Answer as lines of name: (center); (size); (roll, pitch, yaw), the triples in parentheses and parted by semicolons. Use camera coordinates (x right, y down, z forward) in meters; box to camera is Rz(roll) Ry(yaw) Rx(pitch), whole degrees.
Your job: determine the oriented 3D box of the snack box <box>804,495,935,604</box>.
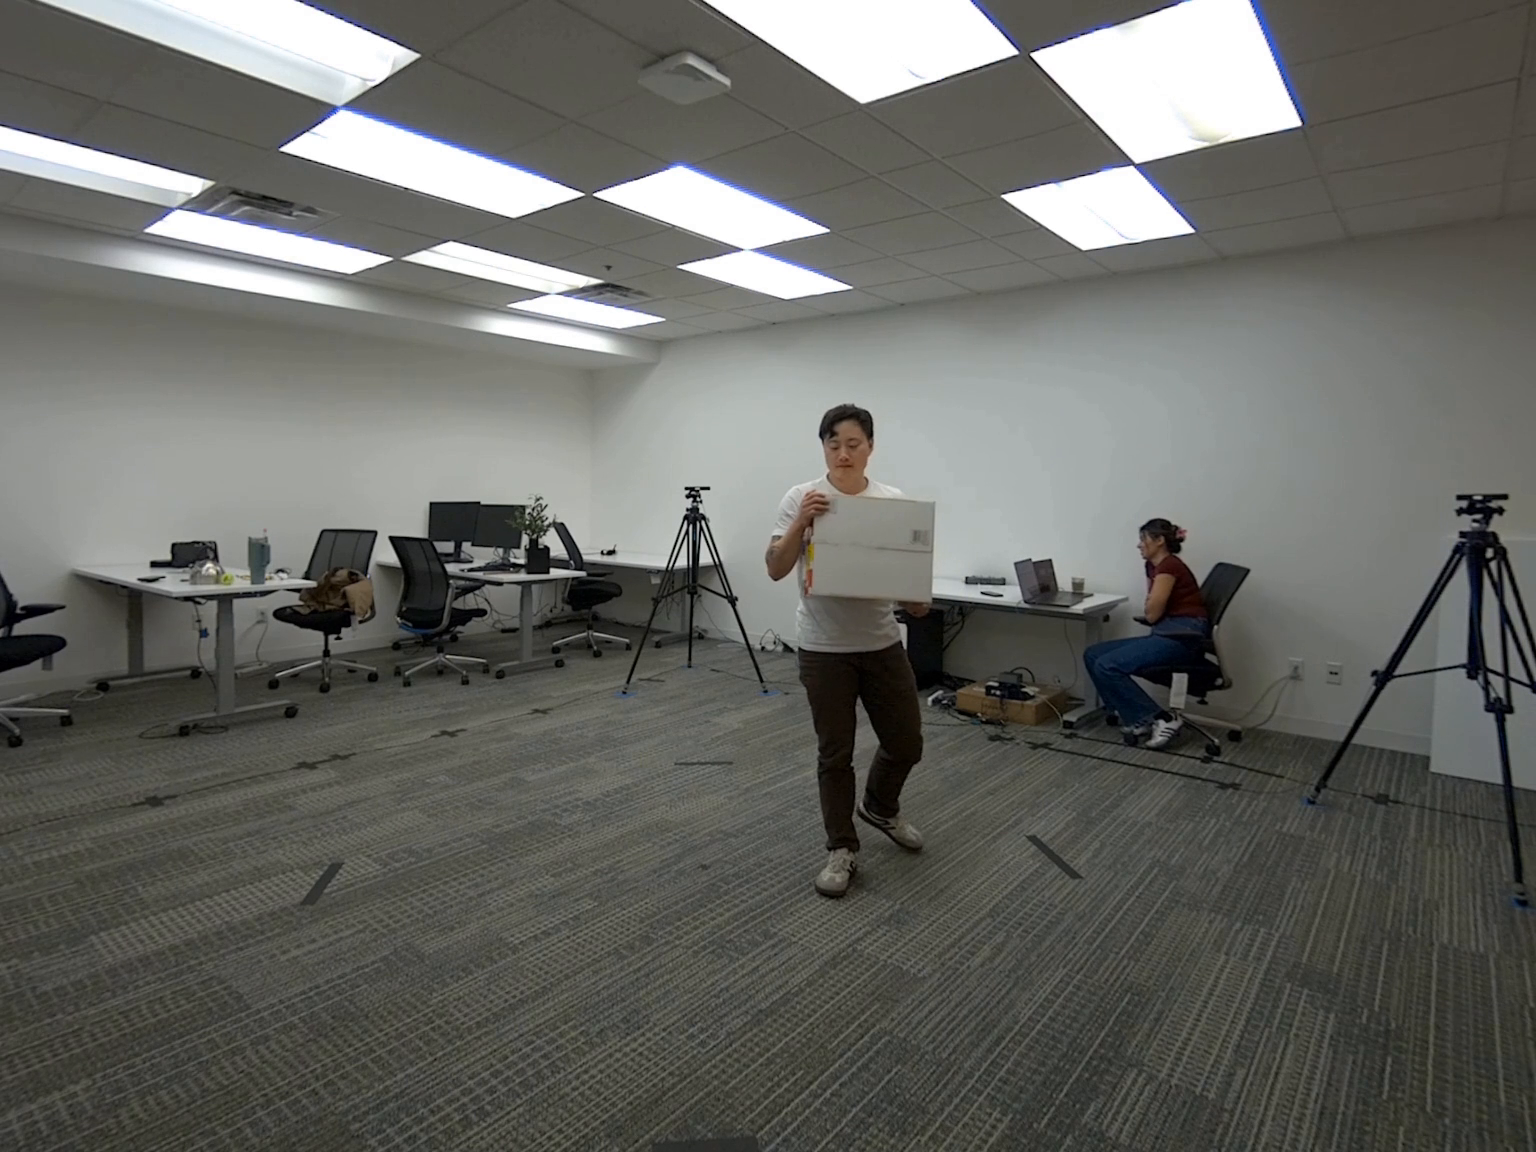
snack box: (0.326, -0.090, 2.865); (0.404, 0.342, 0.205); (5, -5, -3)
